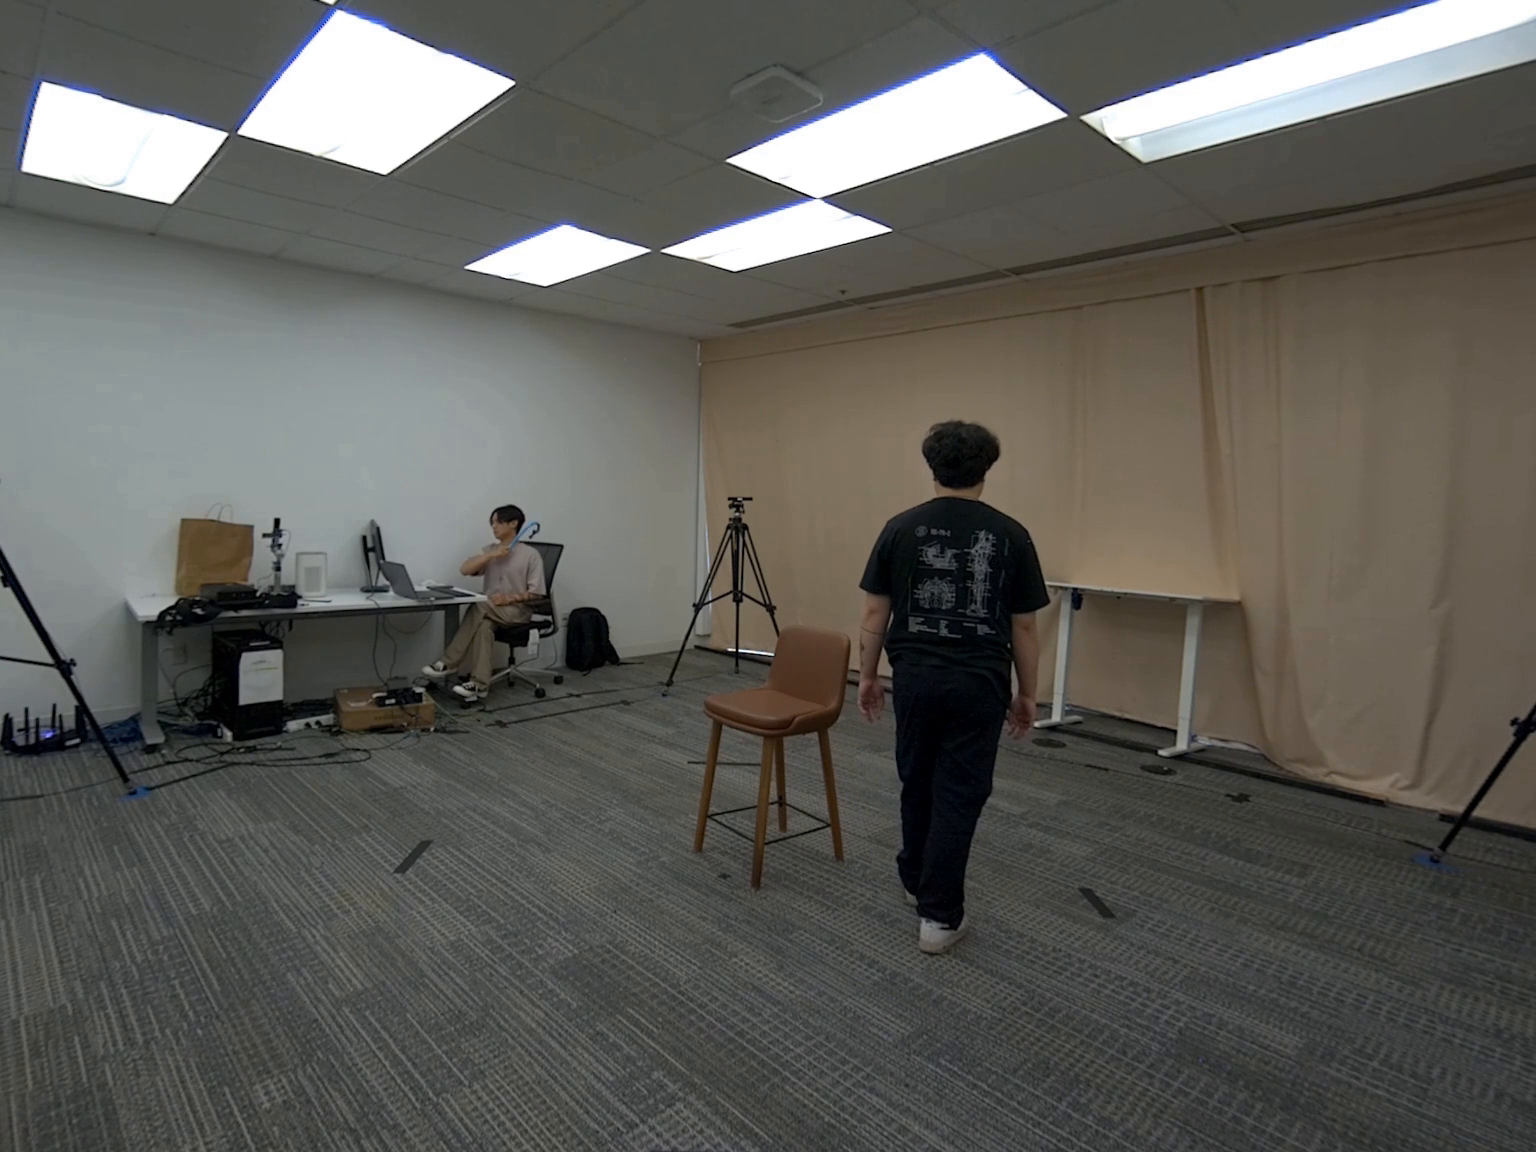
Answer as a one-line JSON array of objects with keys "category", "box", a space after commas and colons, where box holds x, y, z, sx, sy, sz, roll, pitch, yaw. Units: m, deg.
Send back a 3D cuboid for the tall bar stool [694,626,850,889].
[{"category": "tall bar stool", "box": [0.015, 0.662, 3.273, 0.457, 0.889, 0.468, 1, 2, -36]}]
